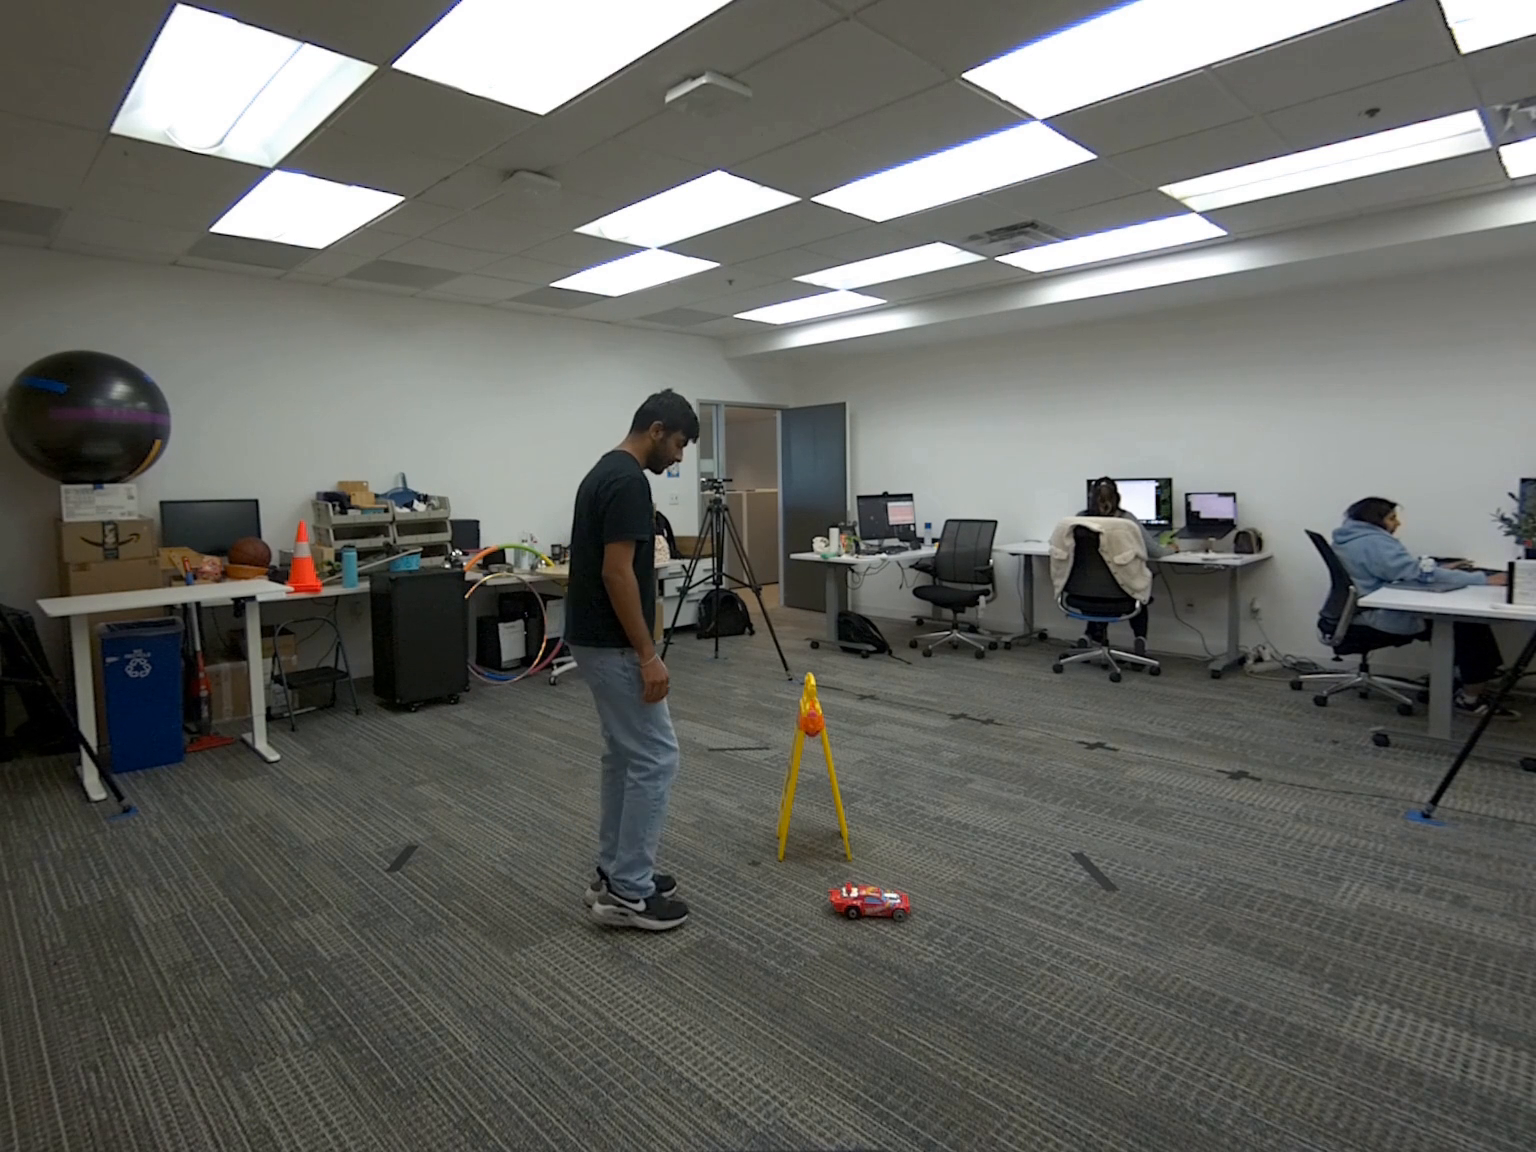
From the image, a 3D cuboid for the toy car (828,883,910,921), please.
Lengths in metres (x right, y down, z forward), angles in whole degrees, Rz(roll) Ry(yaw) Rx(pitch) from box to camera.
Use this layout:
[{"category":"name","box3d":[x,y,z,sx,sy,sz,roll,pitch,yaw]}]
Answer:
[{"category":"toy car","box3d":[0.322,1.044,2.734,0.256,0.083,0.130,10,6,4]}]
